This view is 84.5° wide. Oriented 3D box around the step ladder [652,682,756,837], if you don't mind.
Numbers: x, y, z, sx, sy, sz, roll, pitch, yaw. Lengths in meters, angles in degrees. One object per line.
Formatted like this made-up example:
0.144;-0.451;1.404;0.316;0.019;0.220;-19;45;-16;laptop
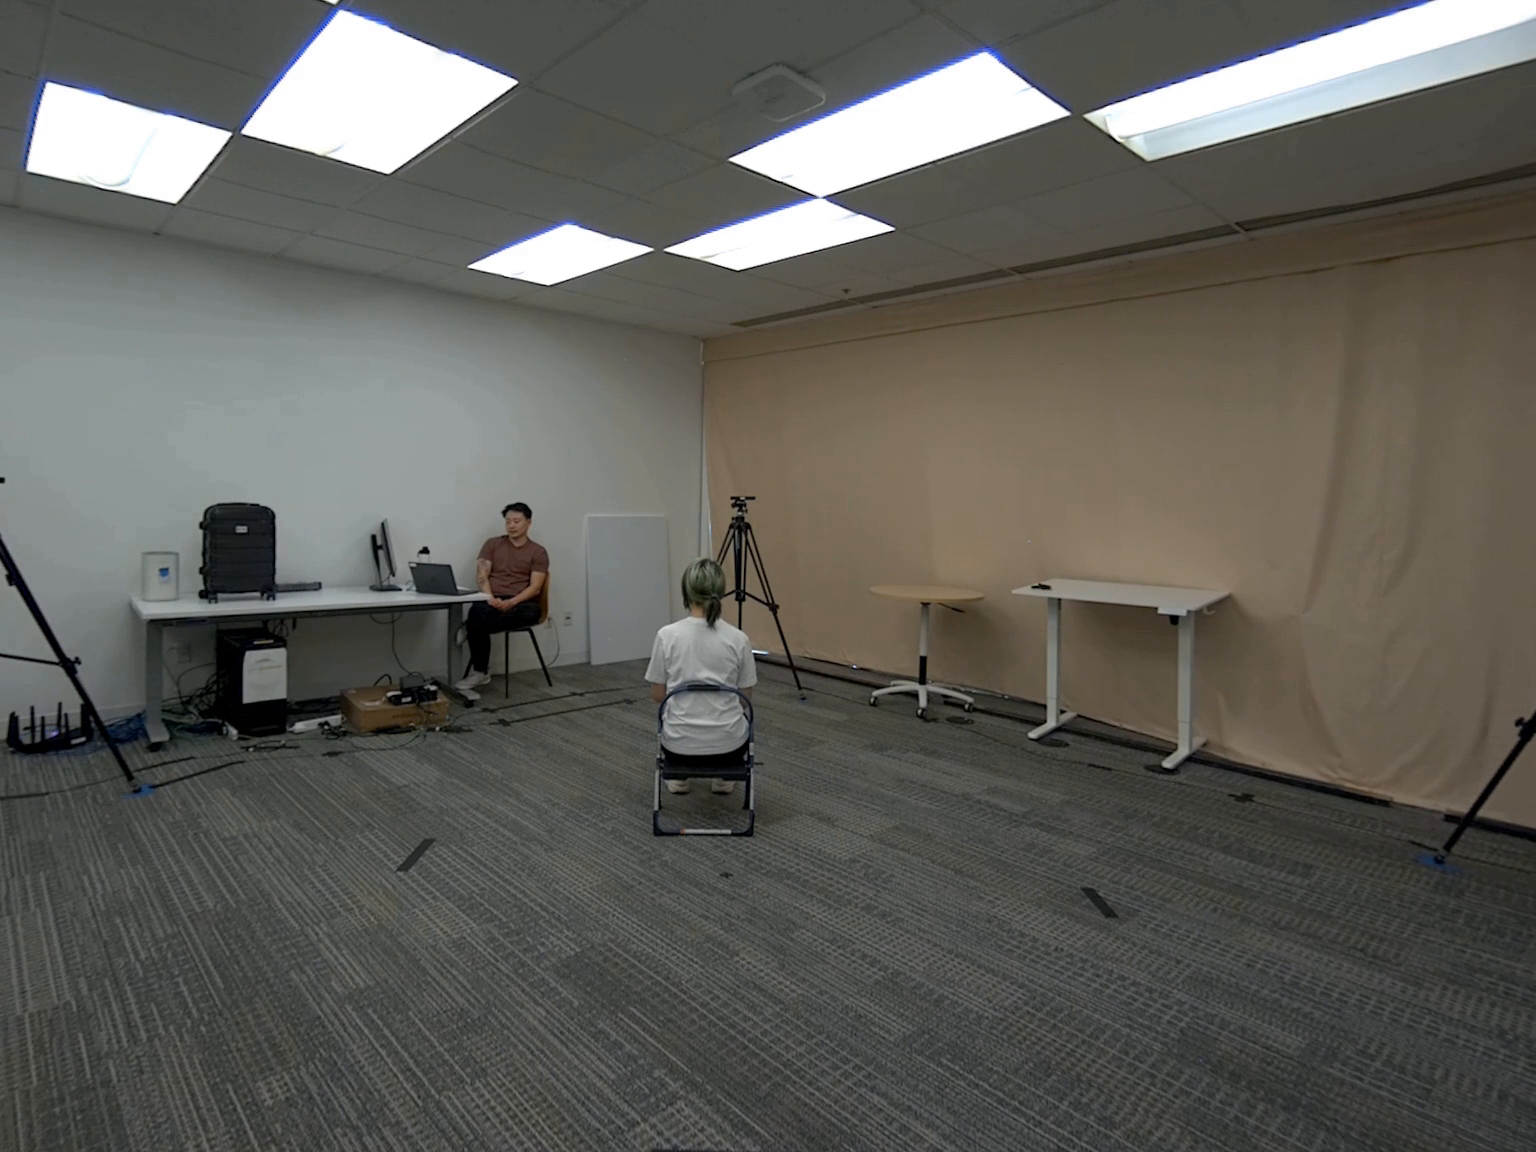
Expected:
-0.285;0.761;3.612;0.429;0.605;0.351;1;2;-5;step ladder
